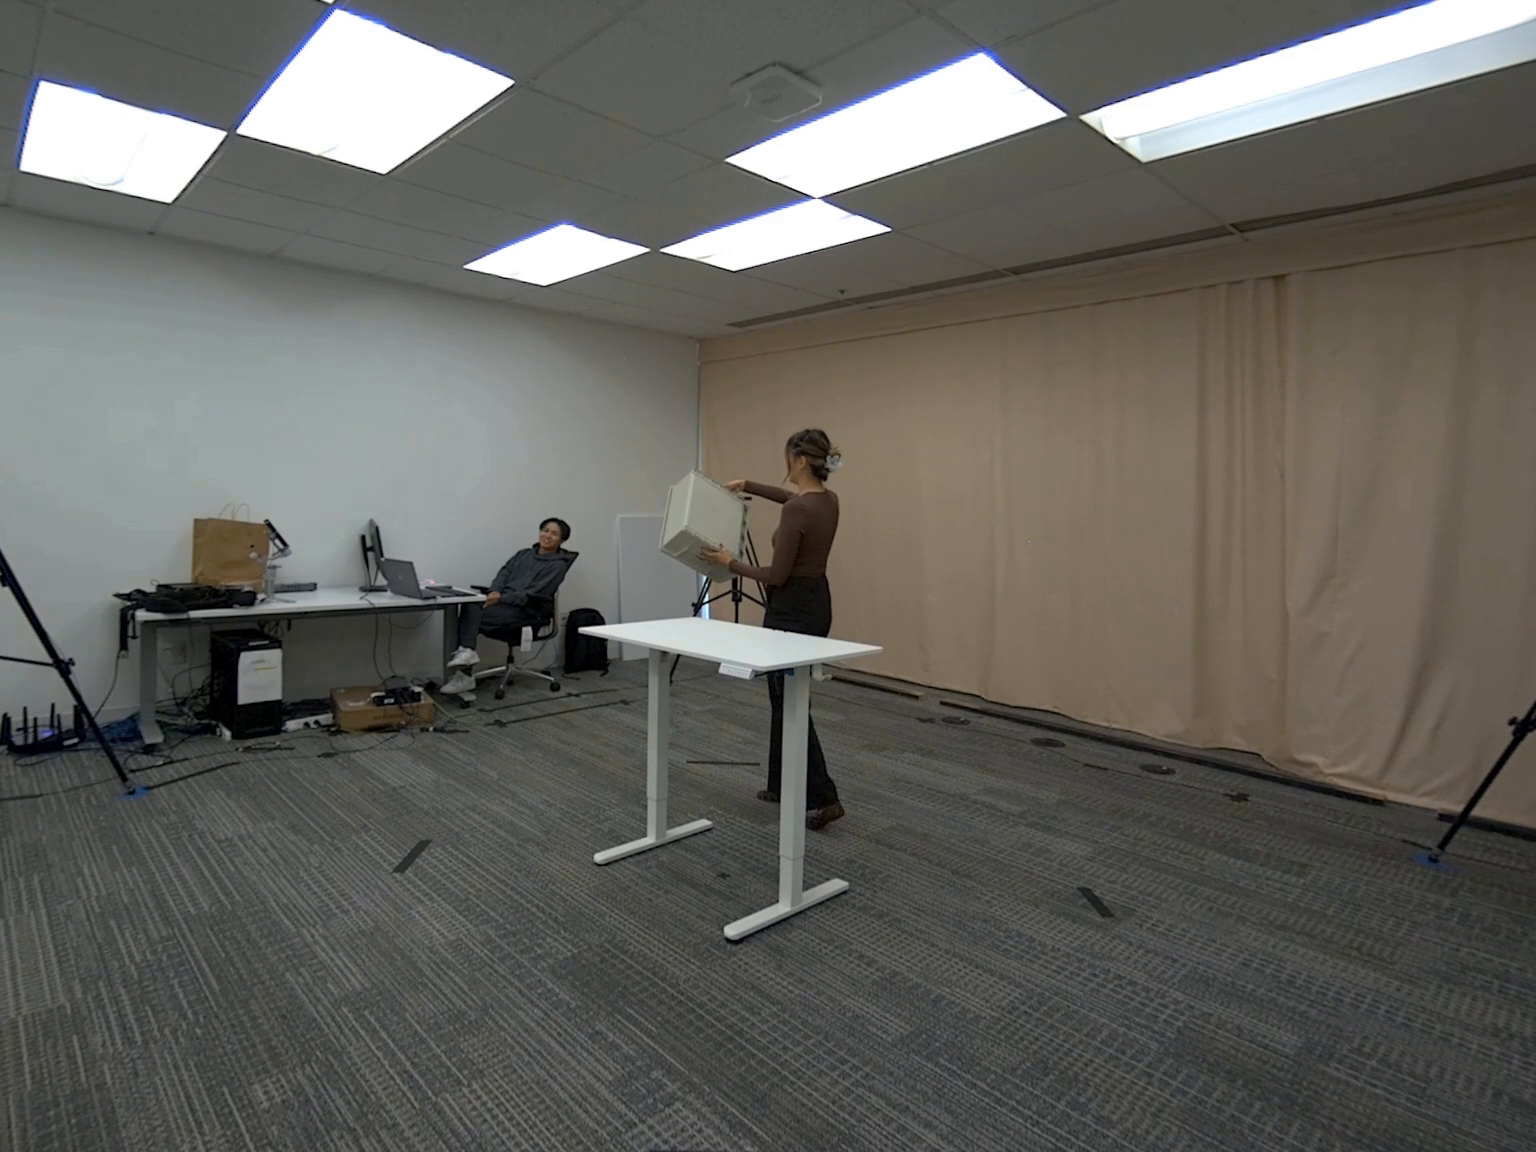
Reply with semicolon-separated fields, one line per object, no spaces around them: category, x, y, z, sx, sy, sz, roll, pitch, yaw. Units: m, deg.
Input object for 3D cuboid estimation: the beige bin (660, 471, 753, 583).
beige bin;-0.283;-0.230;3.933;0.368;0.431;0.190;31;-48;-26
